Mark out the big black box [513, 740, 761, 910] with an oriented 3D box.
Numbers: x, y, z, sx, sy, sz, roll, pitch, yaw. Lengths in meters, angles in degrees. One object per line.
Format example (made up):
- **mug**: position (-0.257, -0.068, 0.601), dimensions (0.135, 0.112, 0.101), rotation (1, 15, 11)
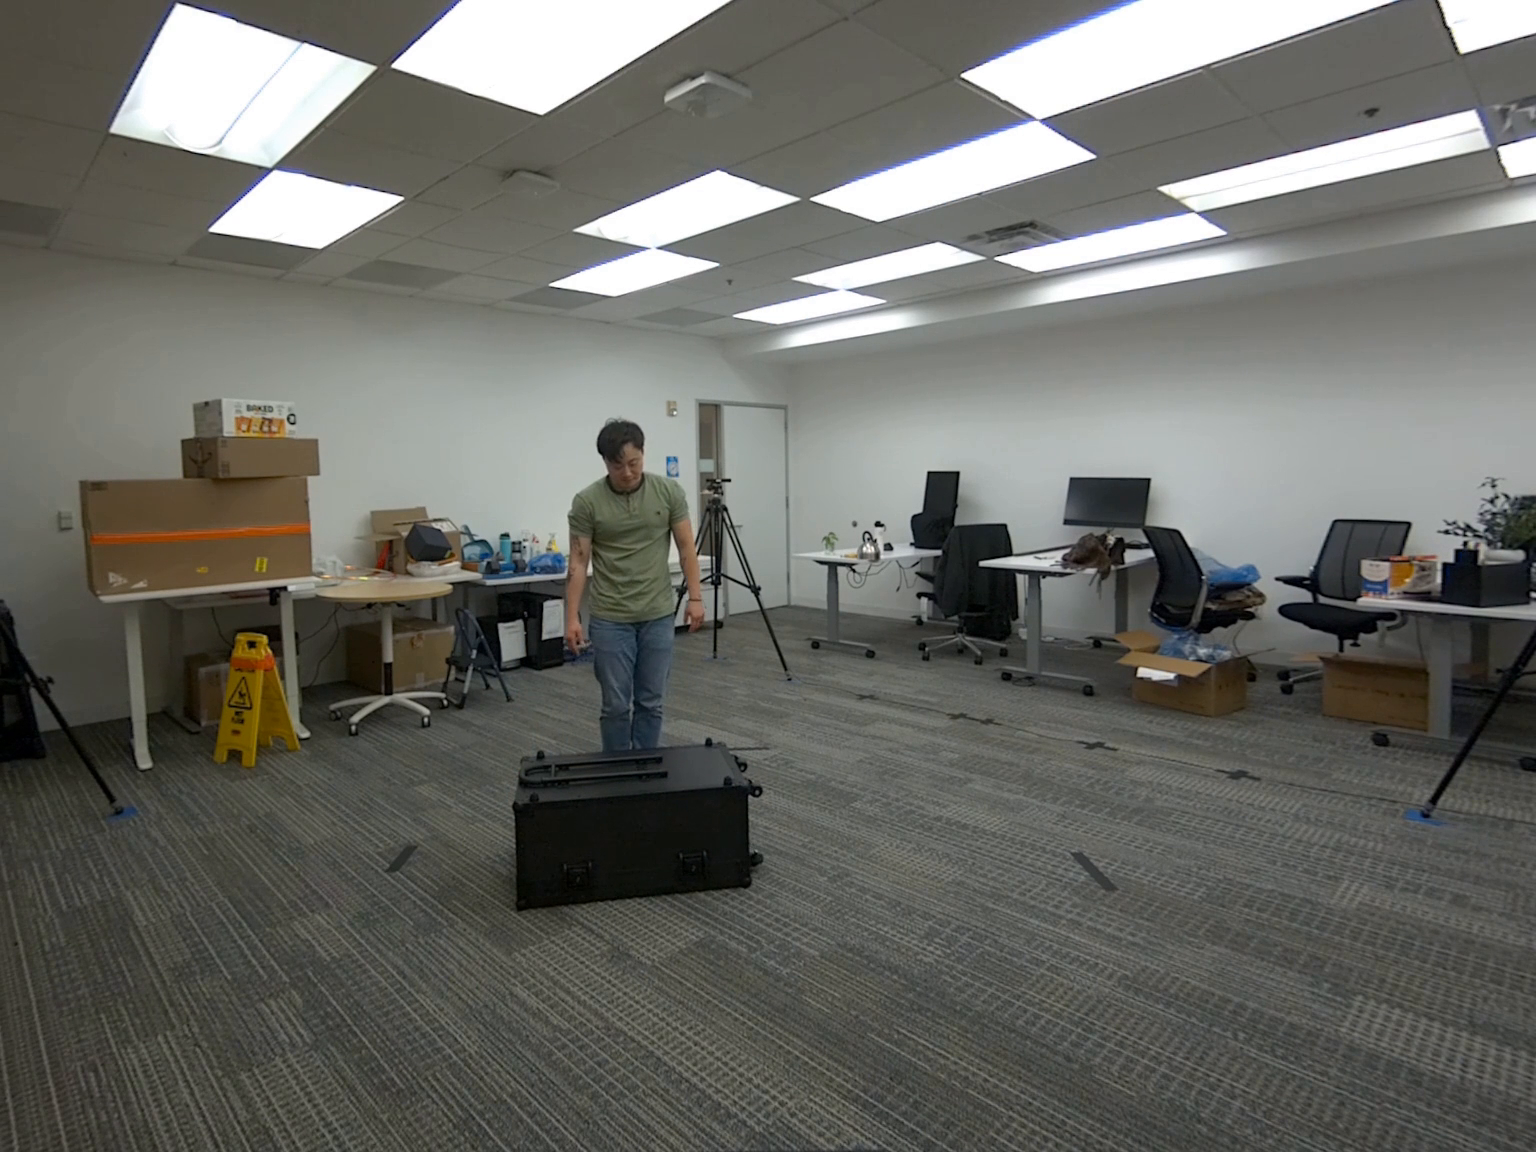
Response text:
- **big black box**: position (-0.462, 0.859, 3.089), dimensions (0.853, 0.395, 0.529), rotation (-1, 5, -11)
